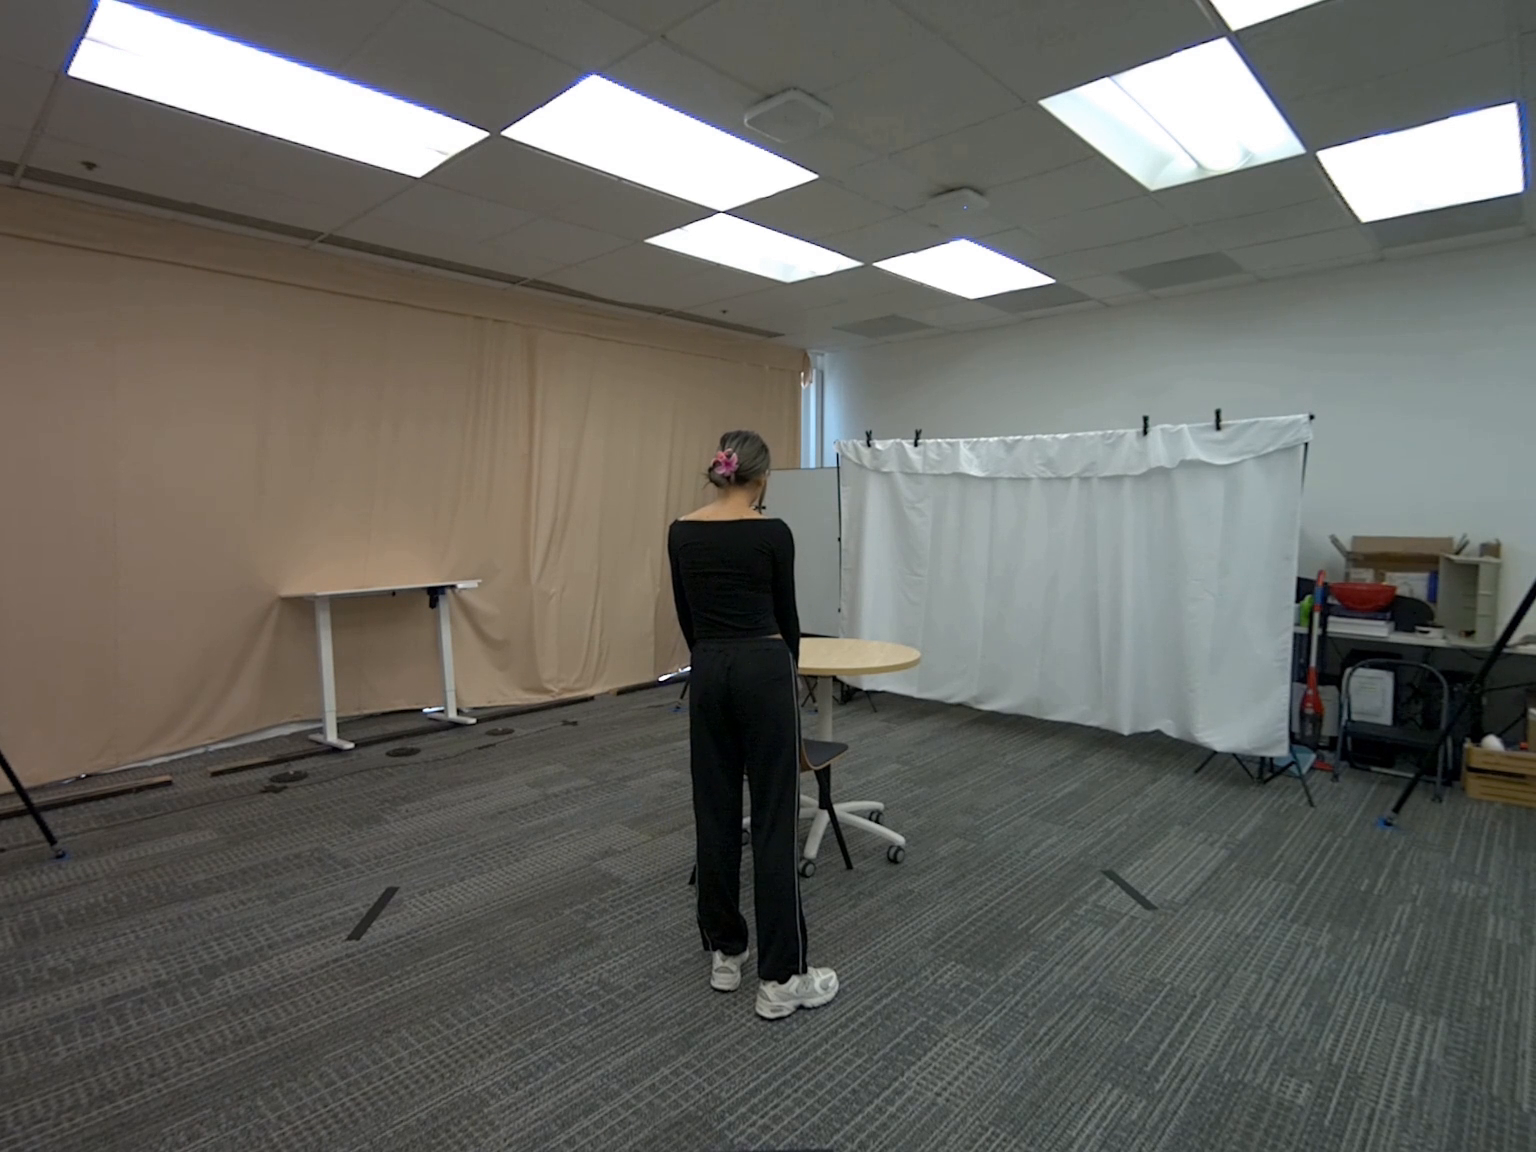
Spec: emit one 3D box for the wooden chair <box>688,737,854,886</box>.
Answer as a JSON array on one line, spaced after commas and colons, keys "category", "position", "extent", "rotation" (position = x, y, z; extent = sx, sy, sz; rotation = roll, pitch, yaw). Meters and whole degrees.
[{"category": "wooden chair", "position": [0.016, 0.699, 3.132], "extent": [0.492, 0.873, 0.510], "rotation": [2, 8, 33]}]
